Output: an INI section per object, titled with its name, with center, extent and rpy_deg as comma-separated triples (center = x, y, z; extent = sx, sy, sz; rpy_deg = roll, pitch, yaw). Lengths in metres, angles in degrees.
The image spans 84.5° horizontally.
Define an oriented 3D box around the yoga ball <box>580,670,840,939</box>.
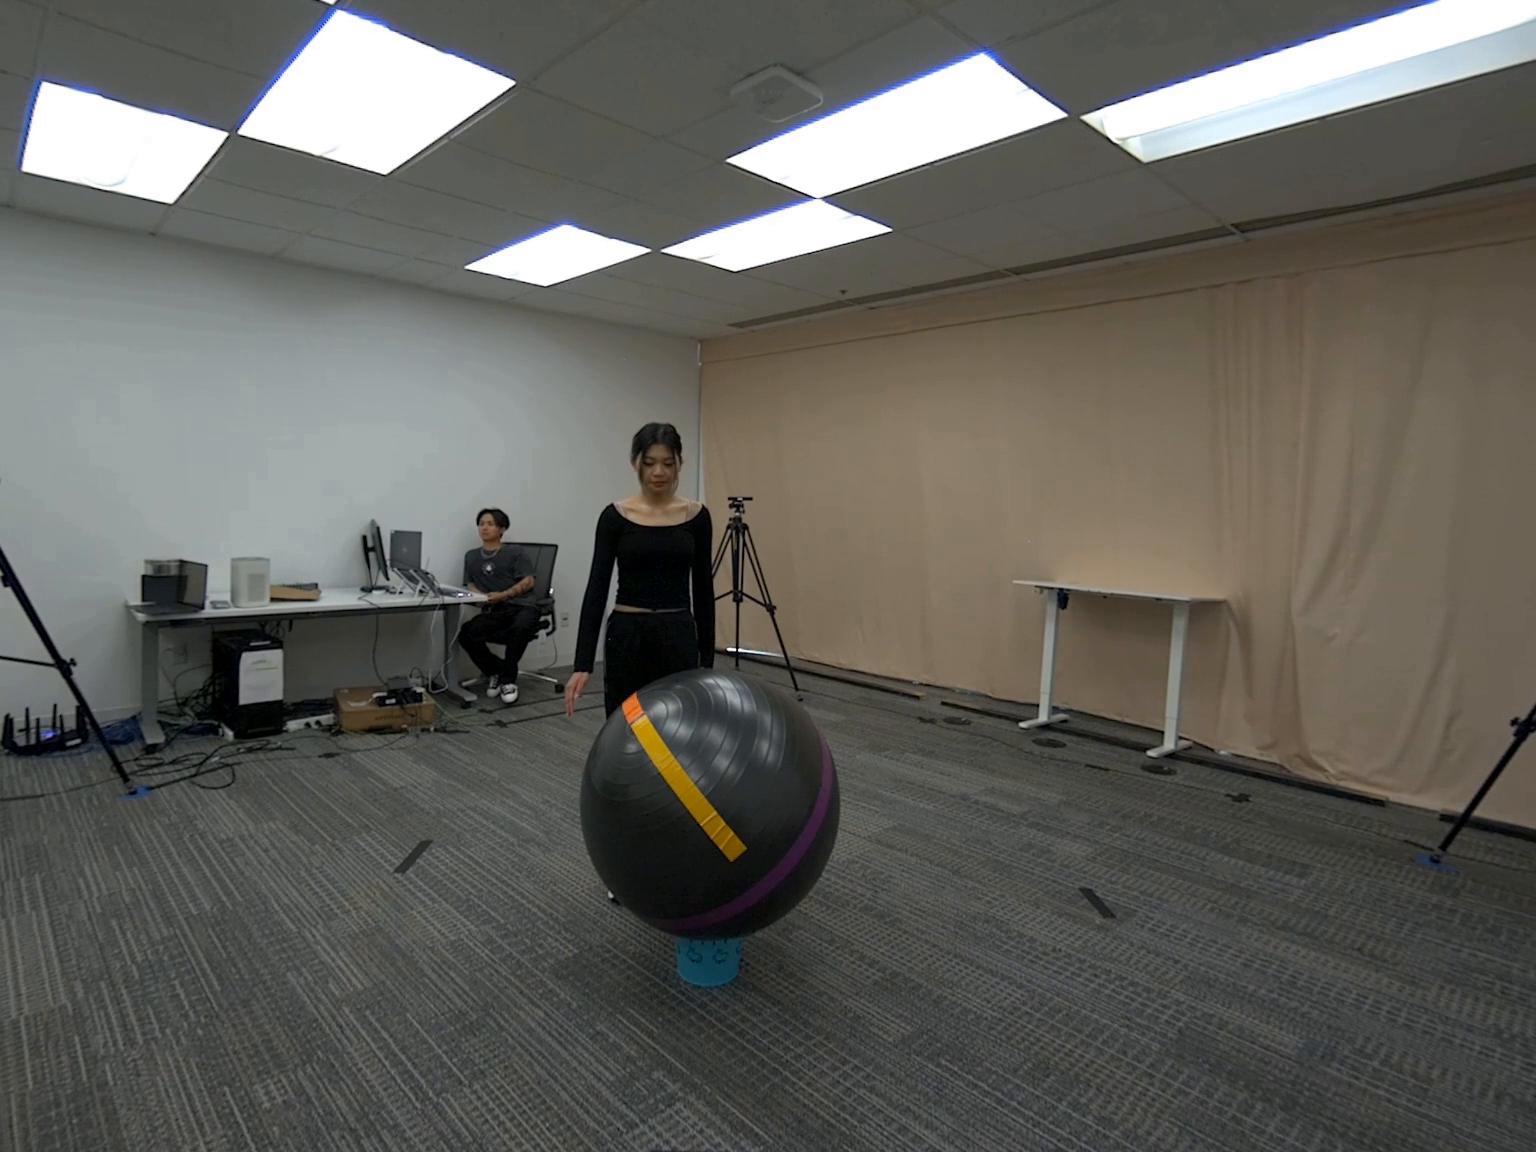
[yoga ball]
center = -0.164, 0.660, 2.452
extent = 0.757, 0.756, 0.761
rpy_deg = 1, 4, -1
